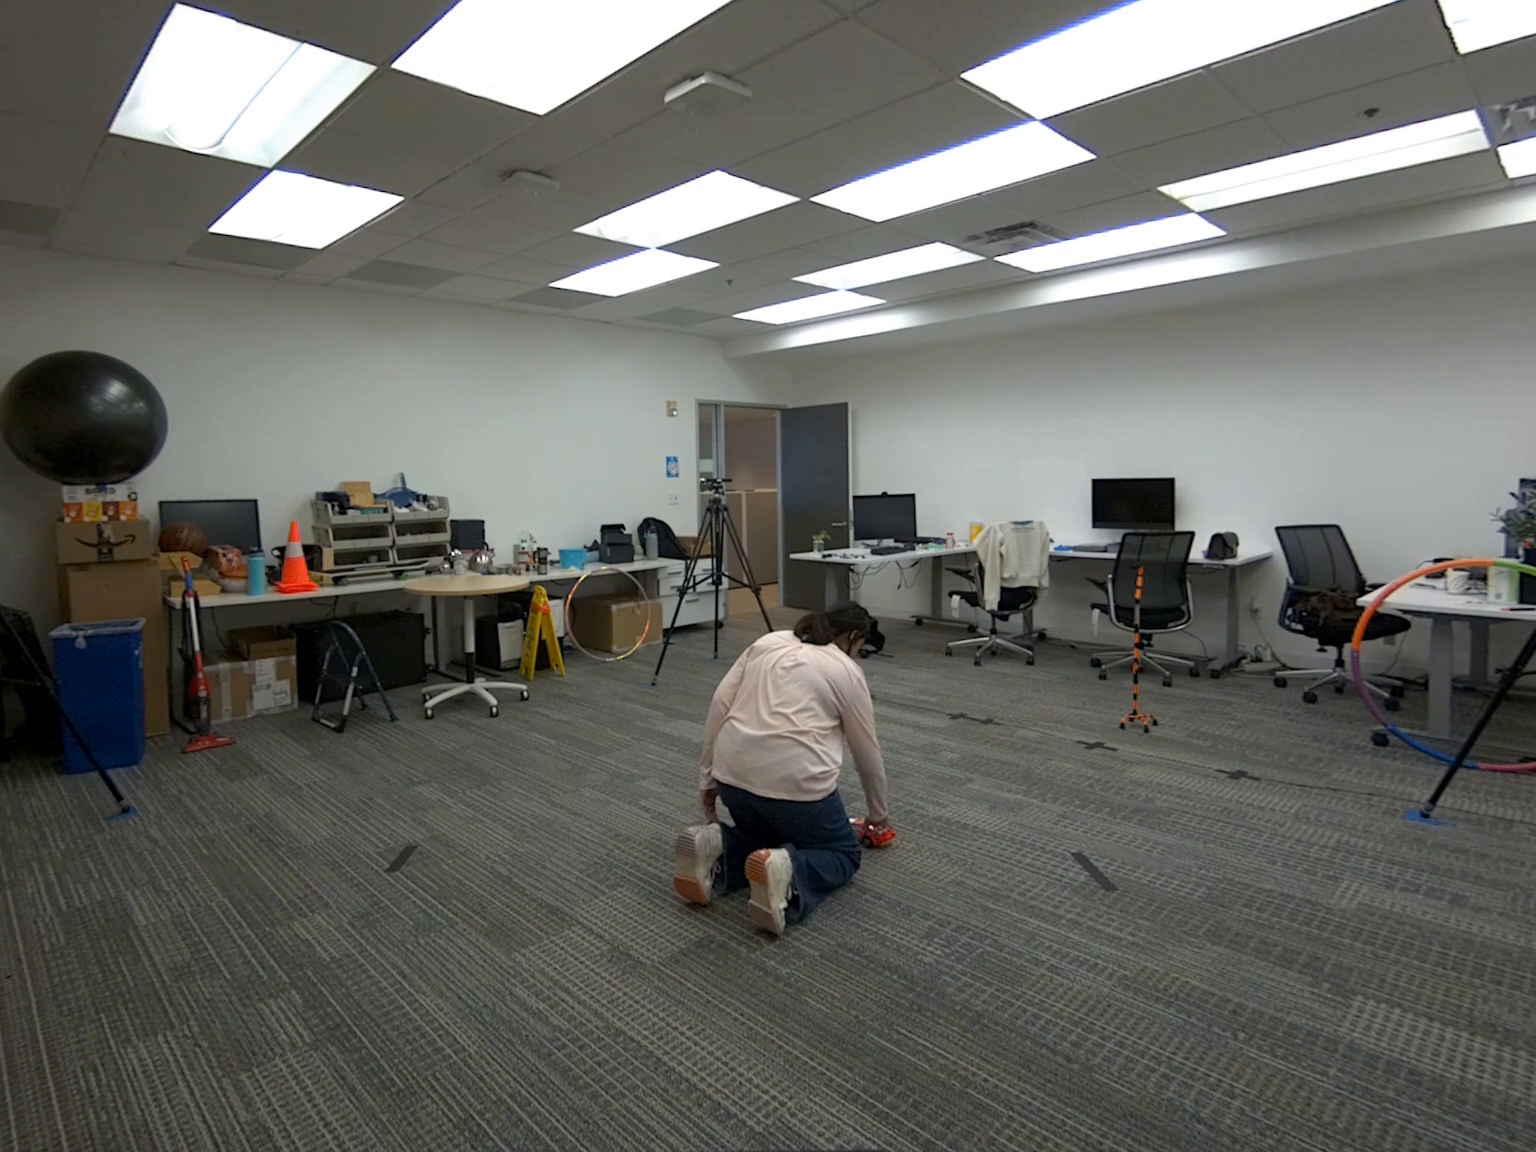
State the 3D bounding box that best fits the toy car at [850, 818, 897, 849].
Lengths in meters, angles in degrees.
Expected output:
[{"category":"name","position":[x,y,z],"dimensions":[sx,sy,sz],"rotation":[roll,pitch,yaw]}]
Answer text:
[{"category":"toy car","position":[0.378,0.987,3.286],"dimensions":[0.127,0.083,0.260],"rotation":[-6,-3,-42]}]
